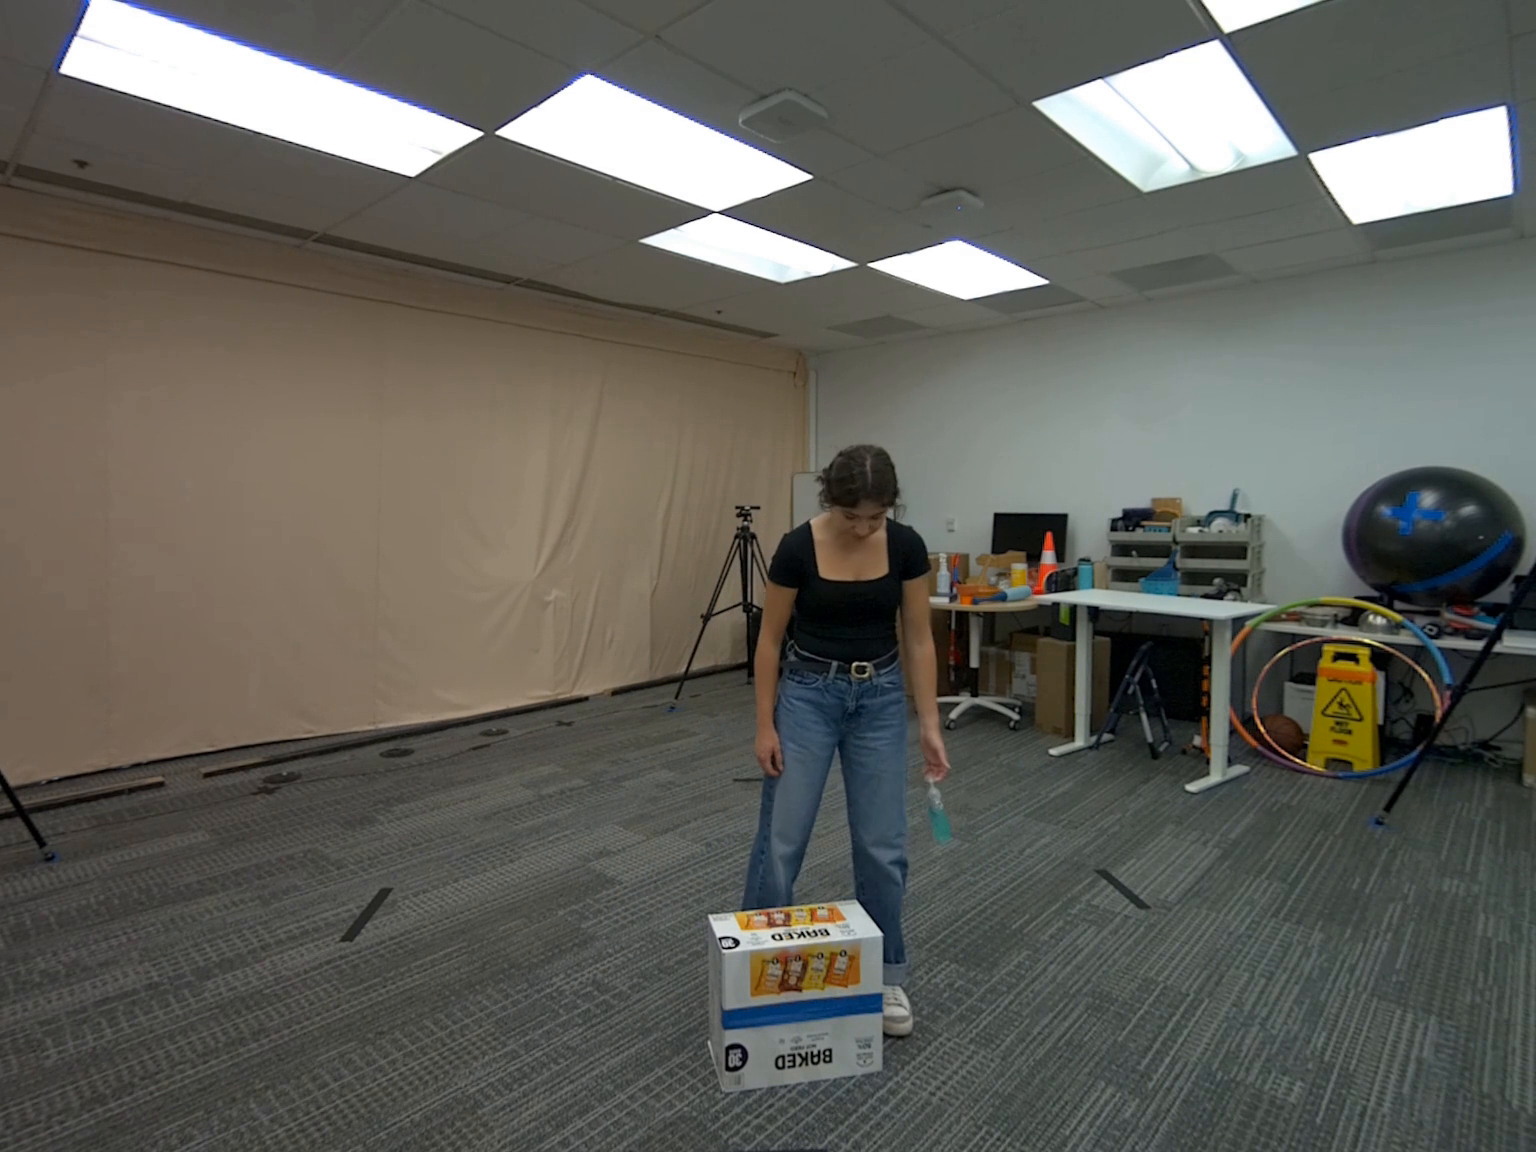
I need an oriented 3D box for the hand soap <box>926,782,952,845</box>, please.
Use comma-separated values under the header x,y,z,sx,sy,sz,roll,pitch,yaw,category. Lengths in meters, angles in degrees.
x,y,z,sx,sy,sz,roll,pitch,yaw,category
0.444,0.599,2.182,0.043,0.167,0.085,-13,8,-3,hand soap
